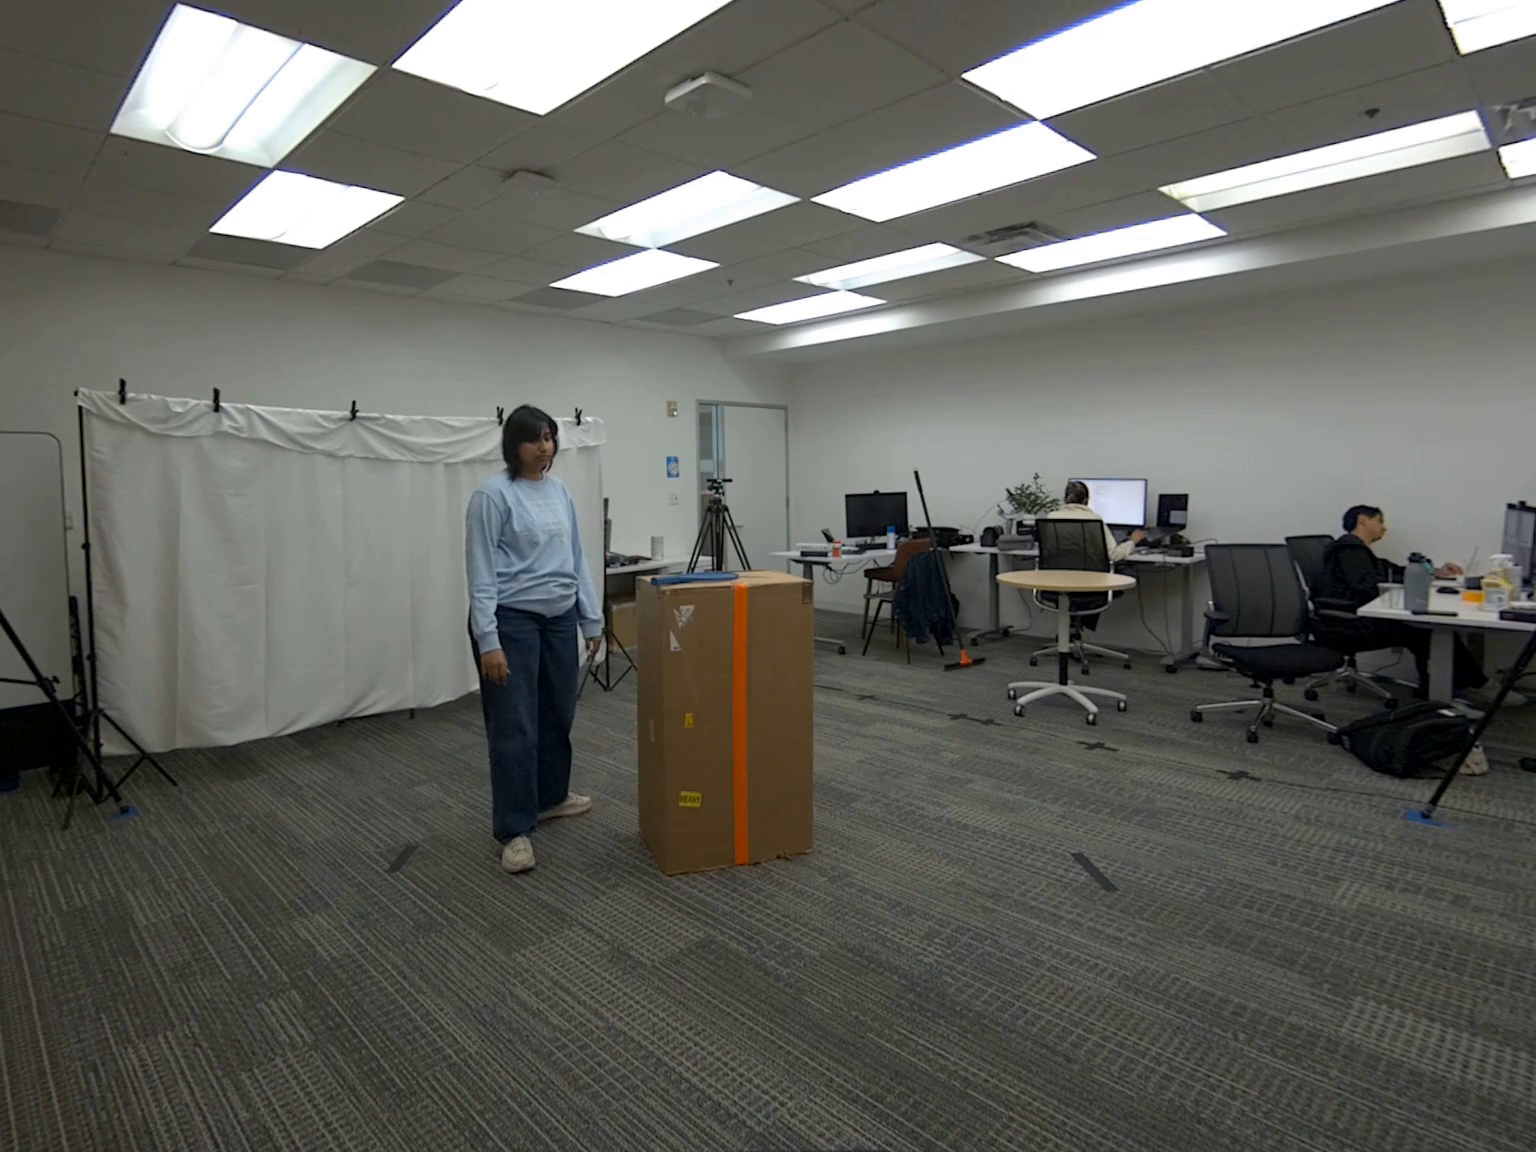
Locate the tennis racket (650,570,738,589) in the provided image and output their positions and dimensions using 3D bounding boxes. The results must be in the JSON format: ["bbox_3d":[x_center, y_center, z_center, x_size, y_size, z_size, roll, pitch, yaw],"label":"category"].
[{"bbox_3d":[-0.280,0.006,3.182,0.220,0.031,0.422,4,7,36],"label":"tennis racket"}]
